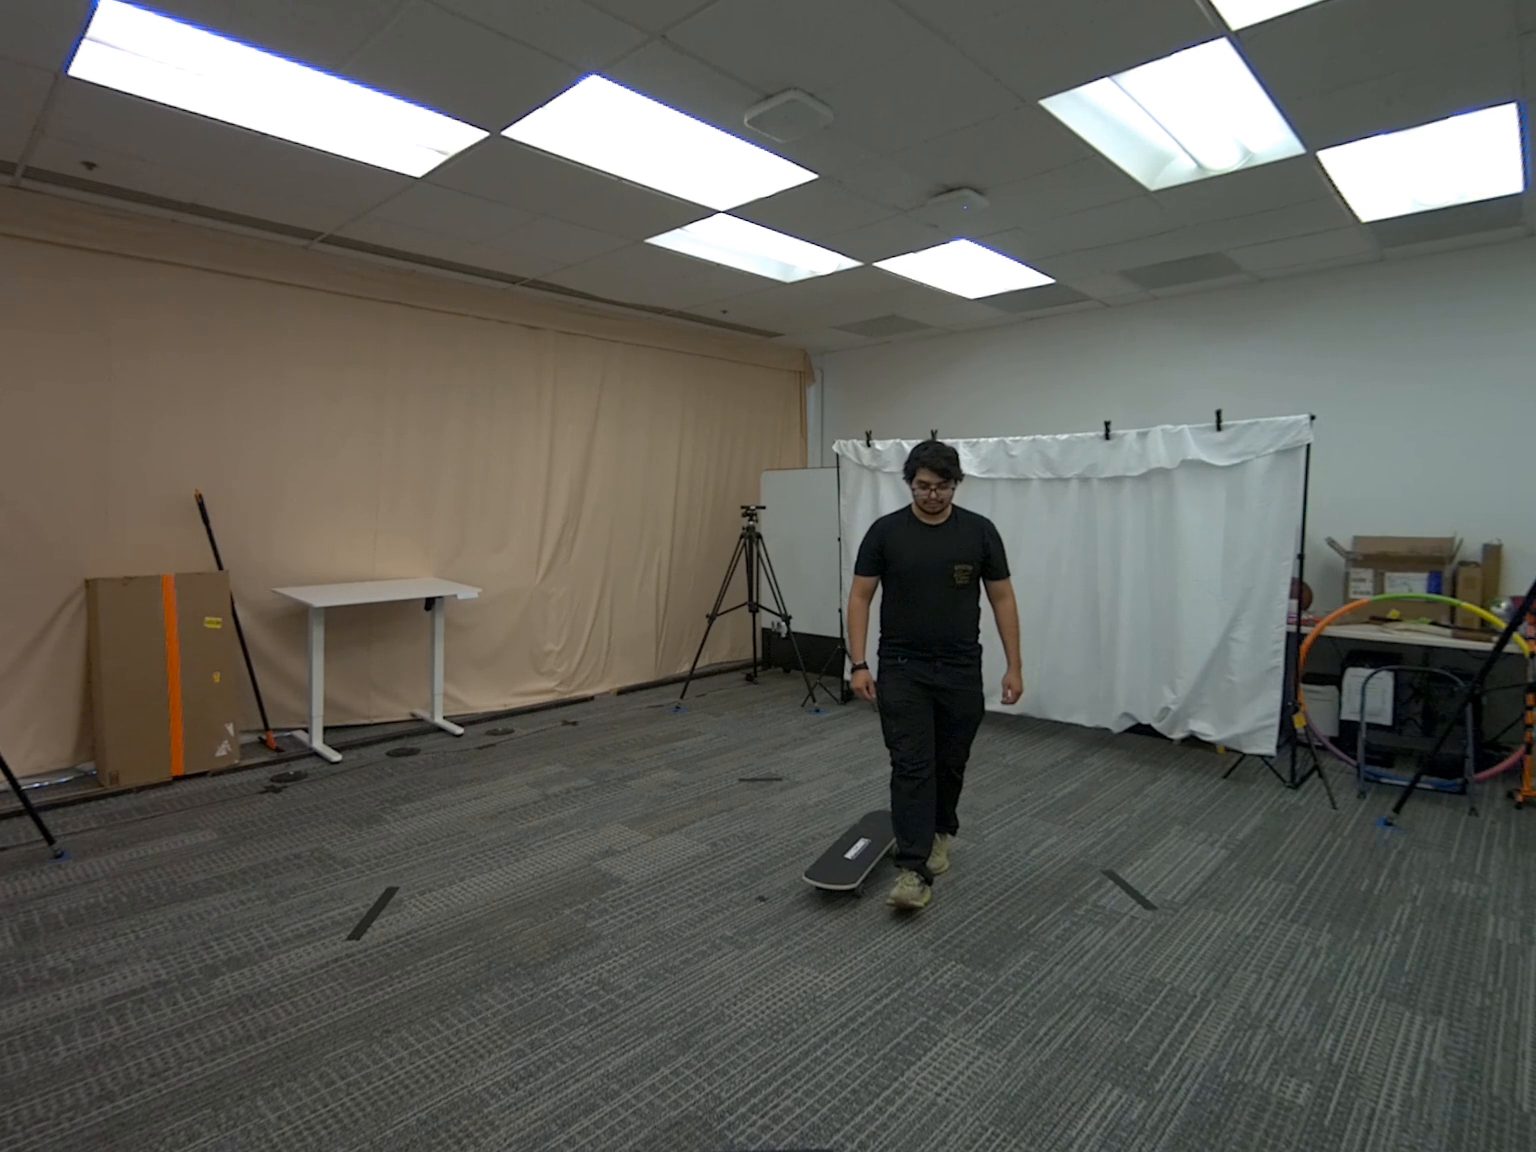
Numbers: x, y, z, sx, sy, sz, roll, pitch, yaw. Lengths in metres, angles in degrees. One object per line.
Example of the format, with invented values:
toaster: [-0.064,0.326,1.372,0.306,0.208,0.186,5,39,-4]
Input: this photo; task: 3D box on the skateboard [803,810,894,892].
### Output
skateboard: [0.343,1.071,3.198,0.199,0.110,0.766,2,5,26]
